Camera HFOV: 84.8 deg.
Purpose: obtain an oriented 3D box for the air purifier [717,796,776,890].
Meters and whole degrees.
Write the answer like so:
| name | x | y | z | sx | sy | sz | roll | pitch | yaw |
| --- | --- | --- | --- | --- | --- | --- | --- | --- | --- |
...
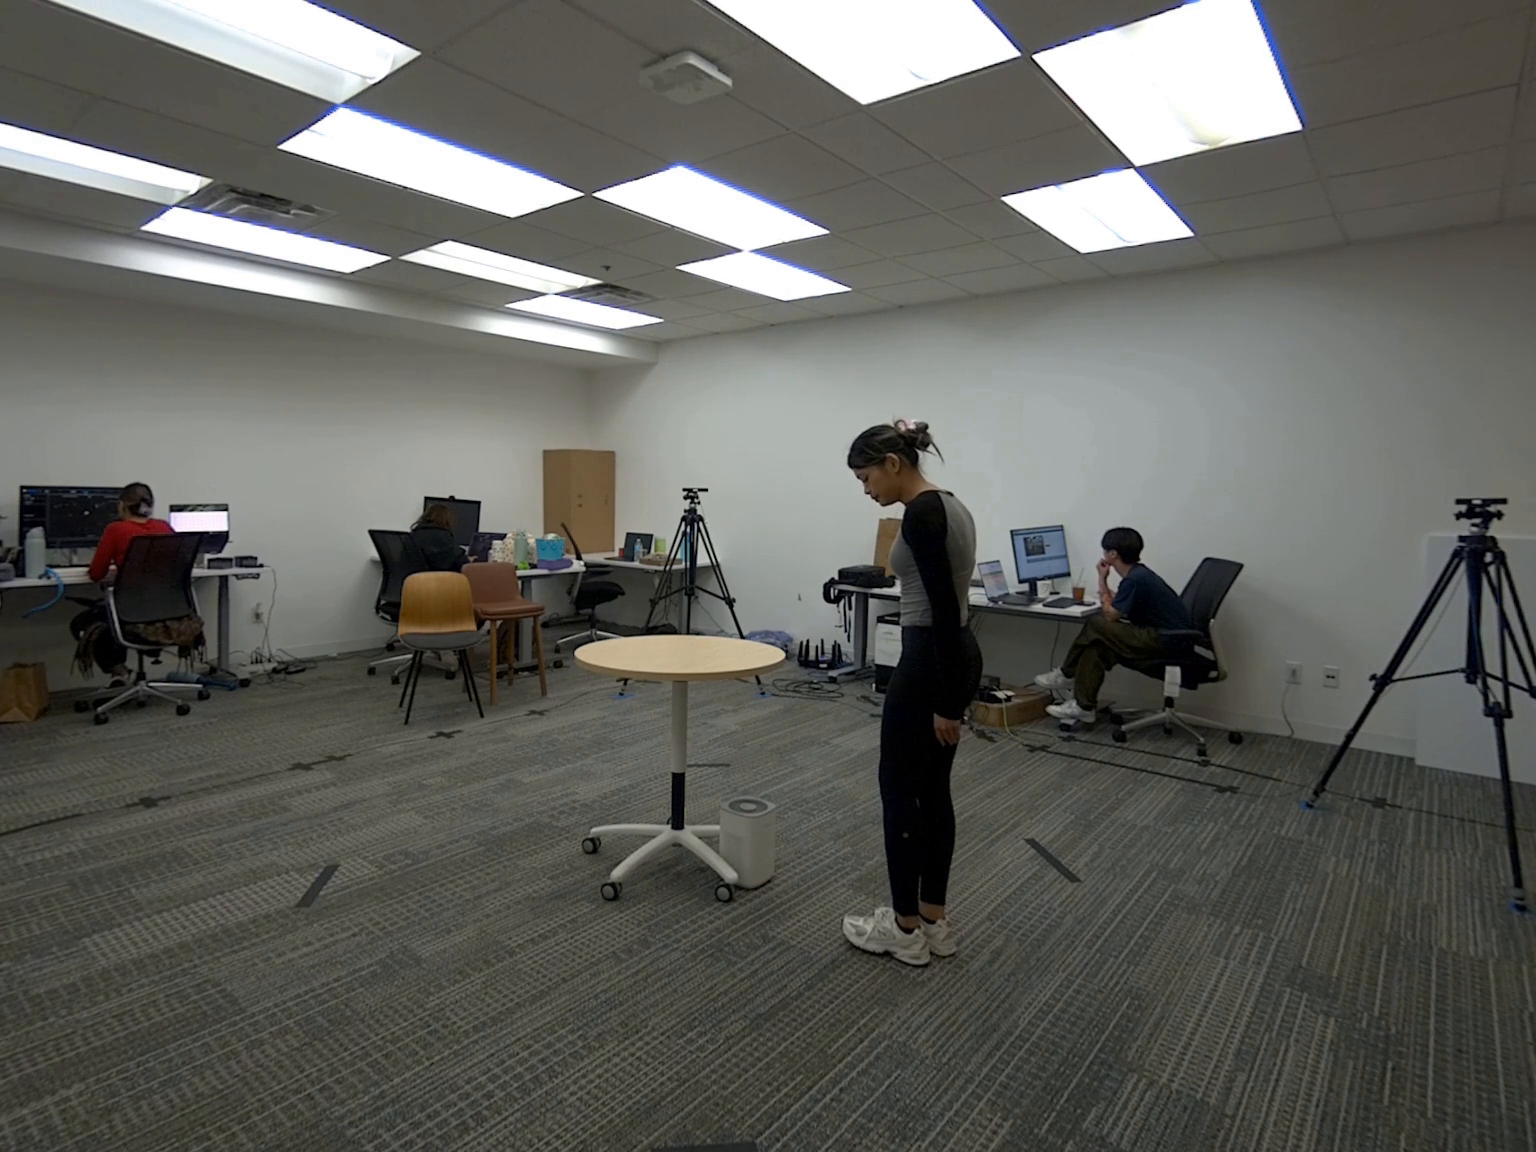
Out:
| name | x | y | z | sx | sy | sz | roll | pitch | yaw |
| --- | --- | --- | --- | --- | --- | --- | --- | --- | --- |
| air purifier | -0.077 | 0.945 | 3.032 | 0.177 | 0.265 | 0.166 | 3 | 4 | 34 |
